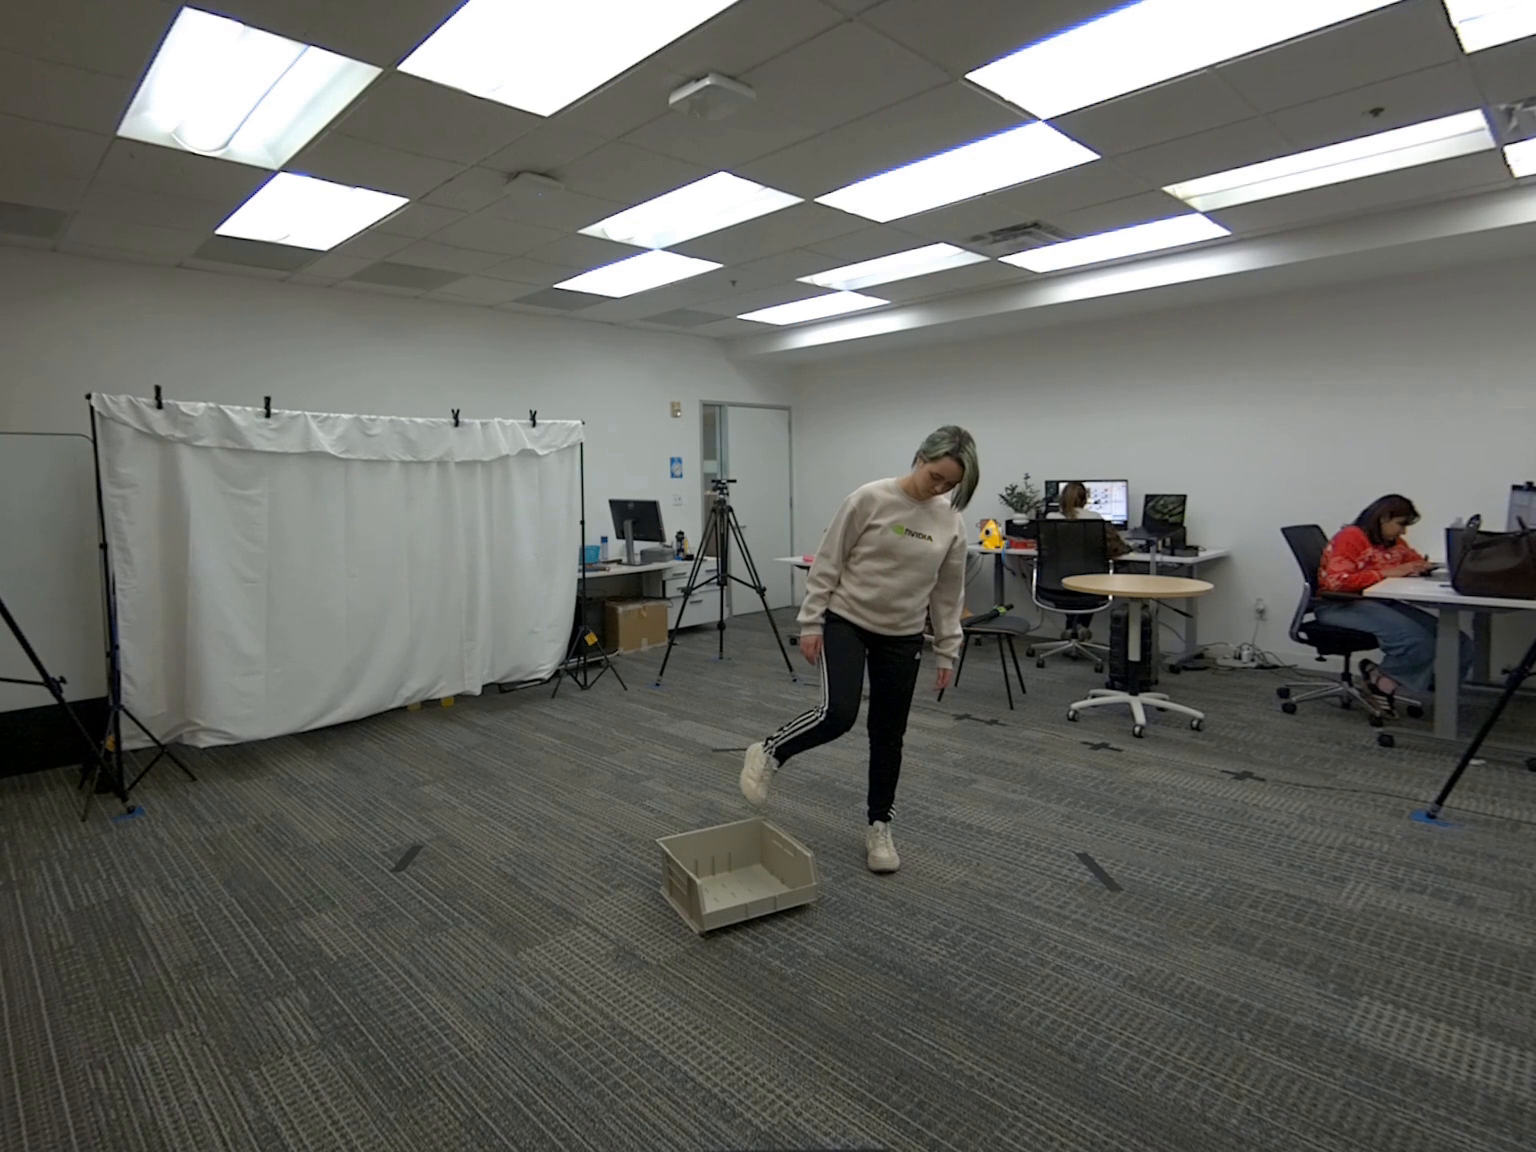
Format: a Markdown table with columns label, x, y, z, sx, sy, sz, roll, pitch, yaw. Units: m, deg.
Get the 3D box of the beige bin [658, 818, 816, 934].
| label | x | y | z | sx | sy | sz | roll | pitch | yaw |
| --- | --- | --- | --- | --- | --- | --- | --- | --- | --- |
| beige bin | -0.104 | 0.993 | 2.831 | 0.413 | 0.188 | 0.387 | -5 | 6 | -28 |
